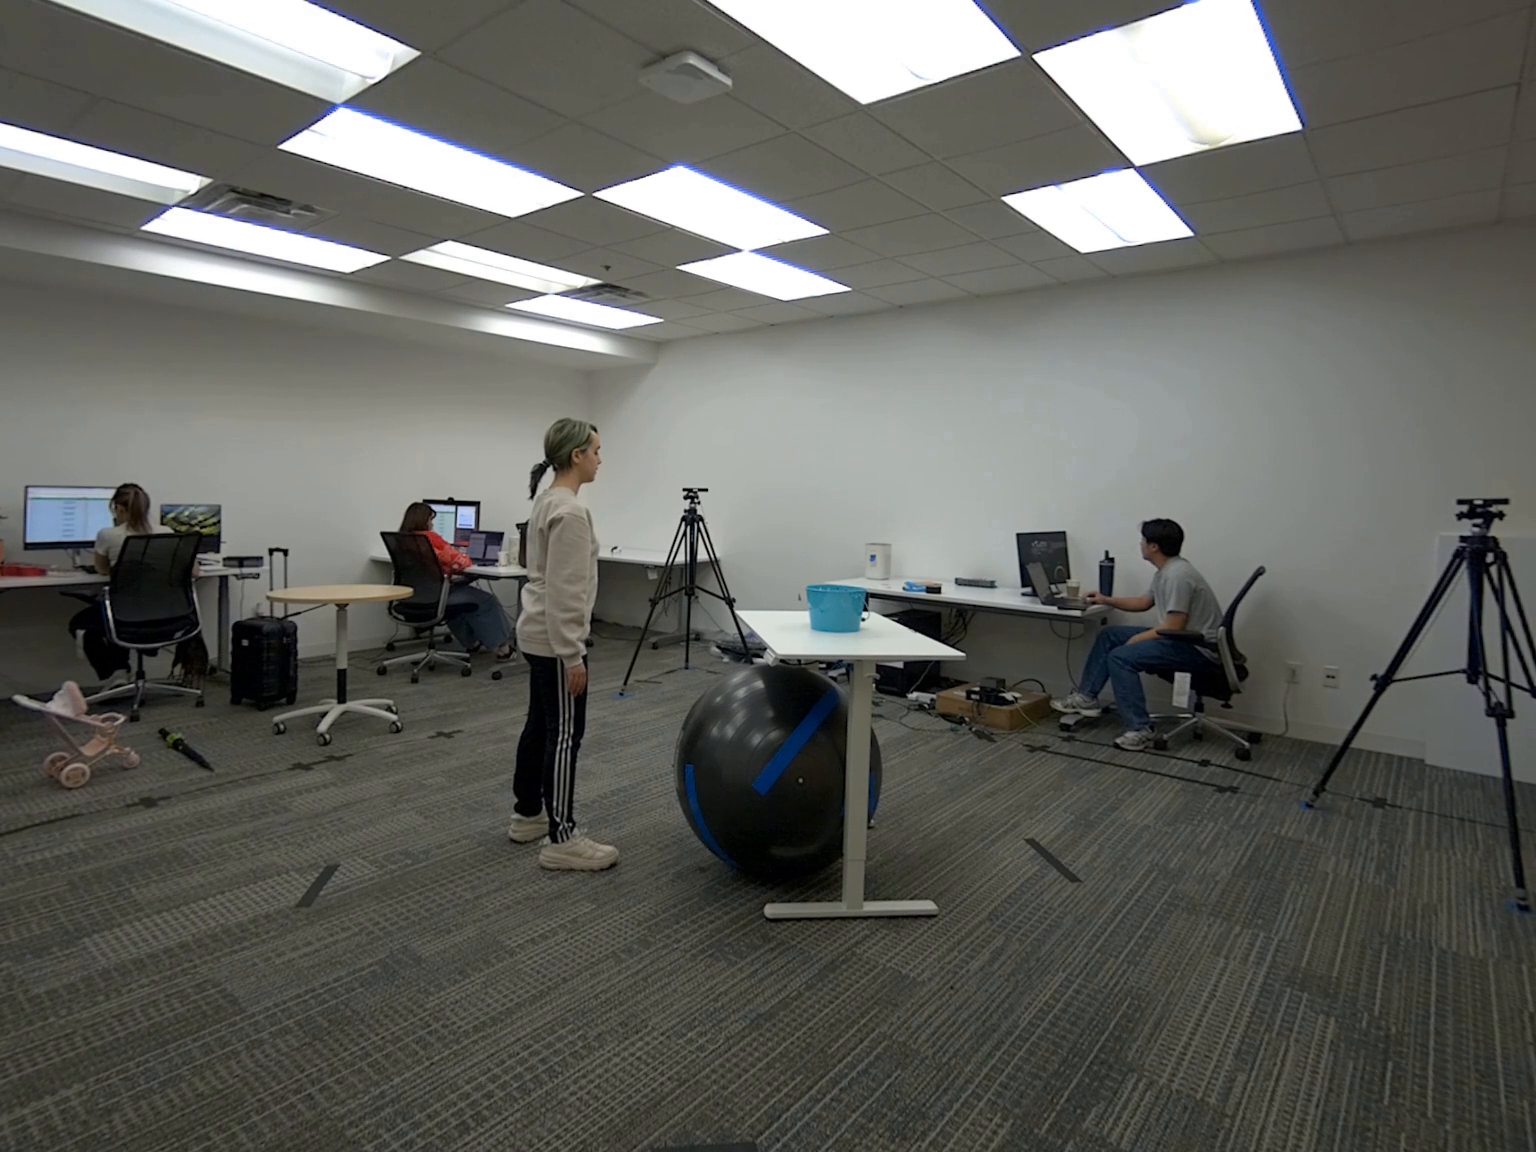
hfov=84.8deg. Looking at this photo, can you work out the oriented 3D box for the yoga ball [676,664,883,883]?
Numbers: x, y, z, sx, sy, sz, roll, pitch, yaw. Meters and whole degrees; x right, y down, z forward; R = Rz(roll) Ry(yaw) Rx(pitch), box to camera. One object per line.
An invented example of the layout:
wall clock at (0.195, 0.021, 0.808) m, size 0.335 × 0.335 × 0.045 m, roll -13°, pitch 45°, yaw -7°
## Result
yoga ball at (0.026, 0.703, 3.120) m, size 0.757 × 0.755 × 0.762 m, roll 1°, pitch 4°, yaw -2°
